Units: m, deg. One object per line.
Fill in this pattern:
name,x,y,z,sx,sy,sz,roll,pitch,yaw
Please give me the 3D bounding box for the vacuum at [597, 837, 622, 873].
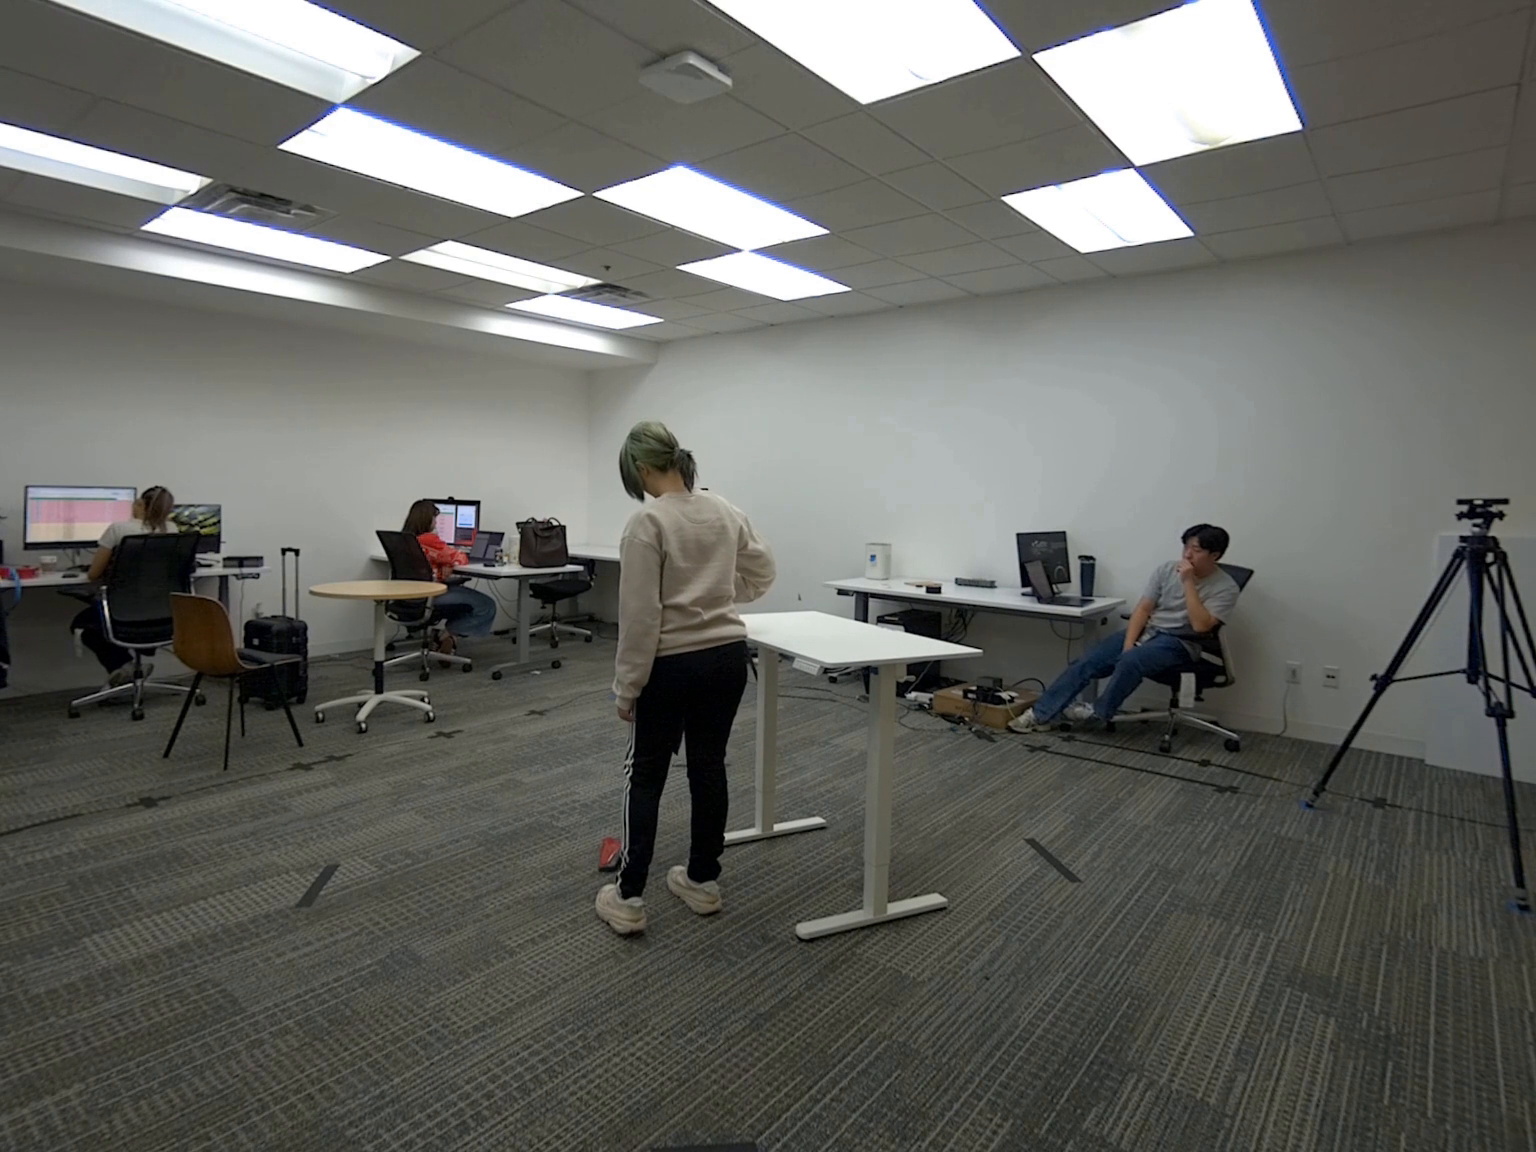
vacuum,-0.378,0.564,3.177,0.142,1.048,0.257,21,2,-12
